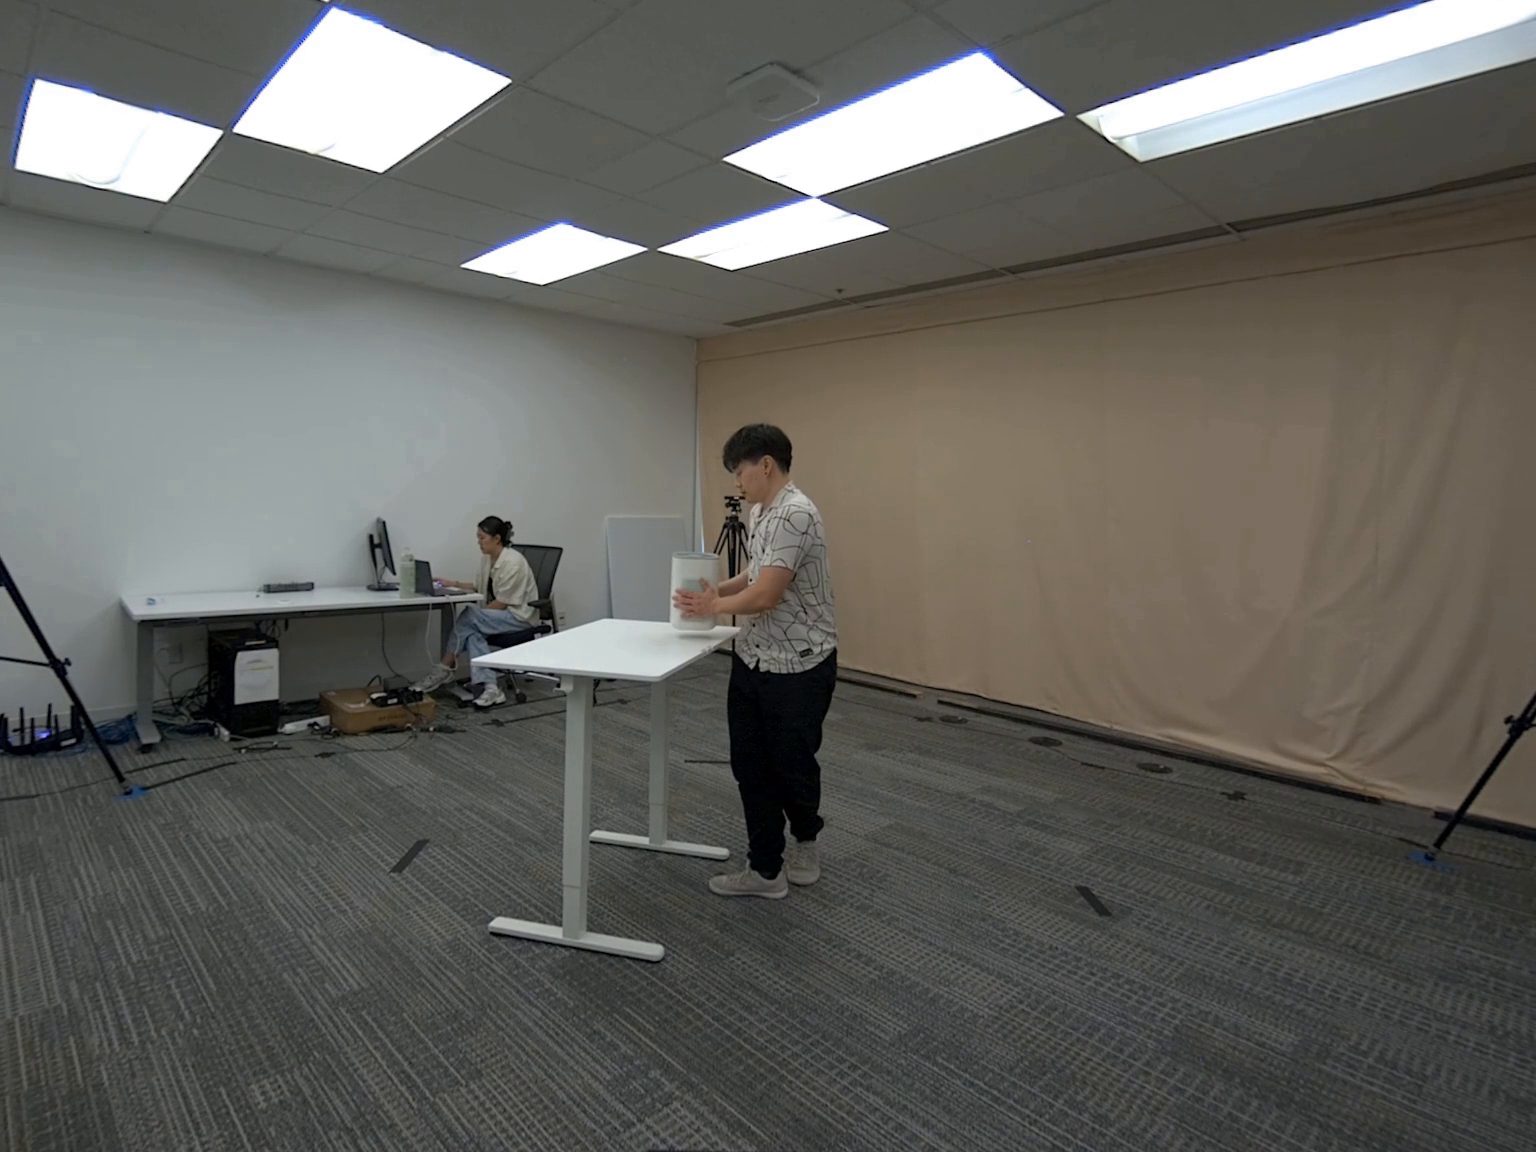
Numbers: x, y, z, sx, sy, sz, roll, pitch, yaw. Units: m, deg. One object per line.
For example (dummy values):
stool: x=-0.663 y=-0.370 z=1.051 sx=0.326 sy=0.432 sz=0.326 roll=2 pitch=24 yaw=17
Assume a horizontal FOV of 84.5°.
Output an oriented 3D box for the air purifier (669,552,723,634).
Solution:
air purifier: x=-0.270 y=0.055 z=3.053 sx=0.171 sy=0.264 sz=0.172 roll=2 pitch=6 yaw=-3
